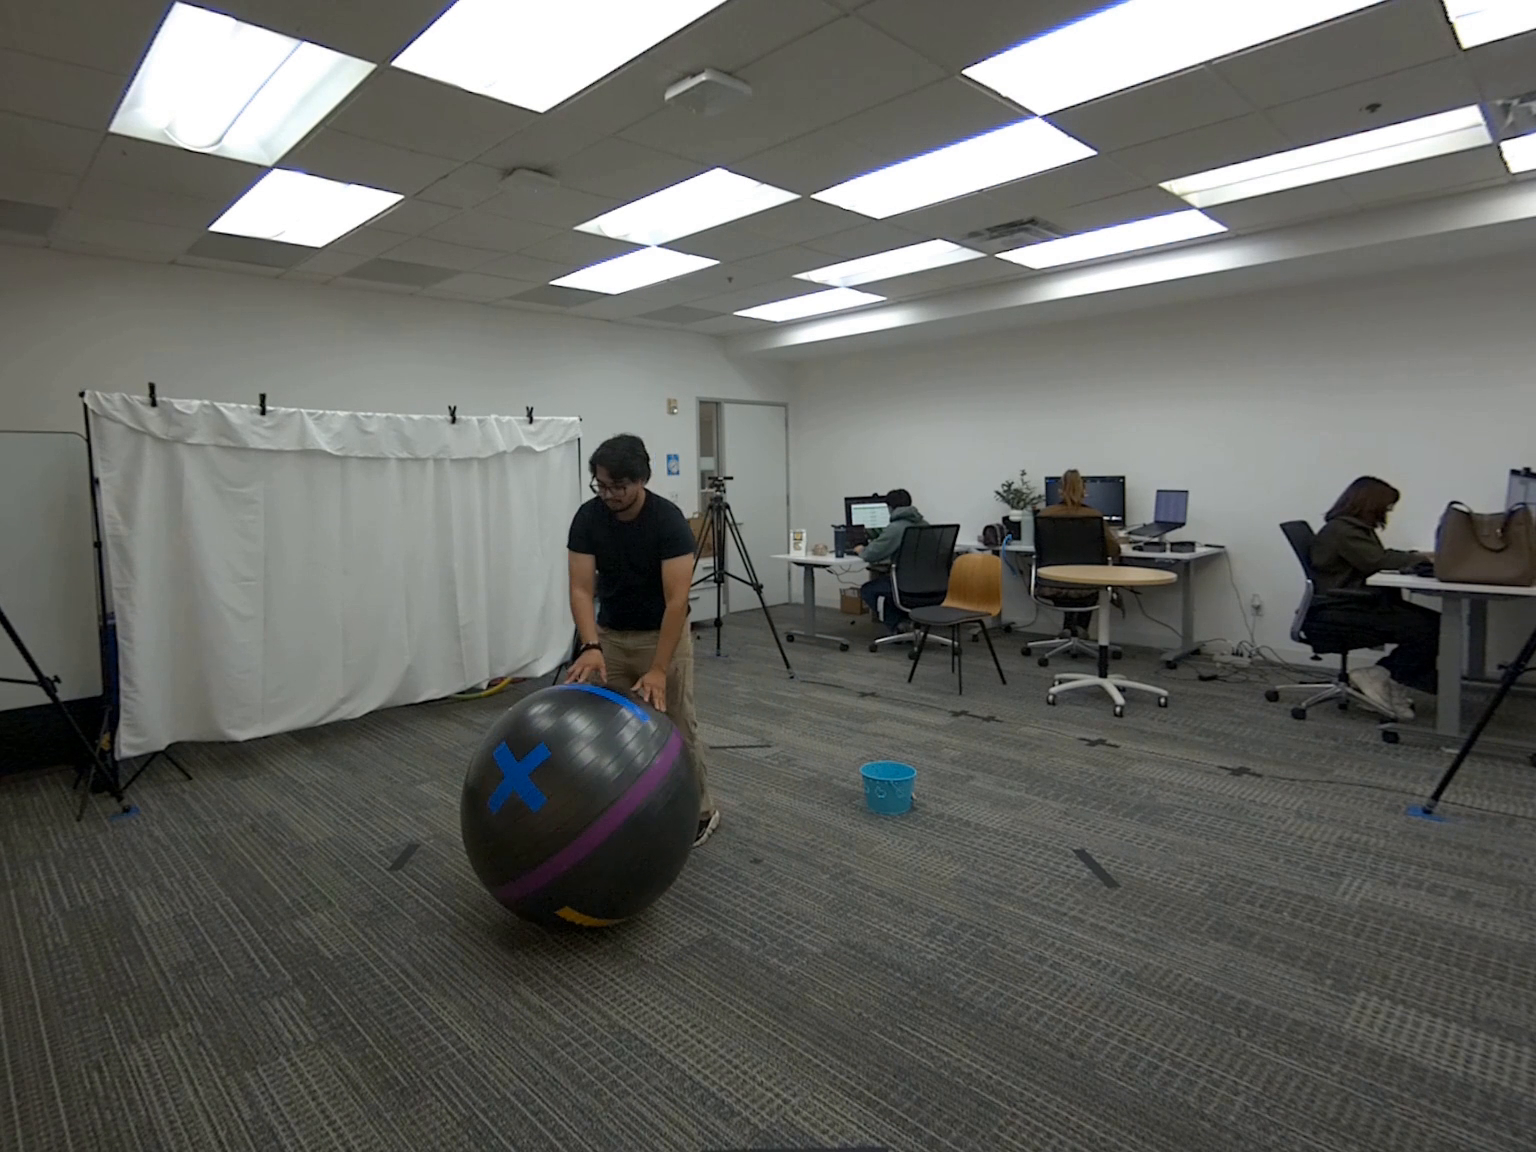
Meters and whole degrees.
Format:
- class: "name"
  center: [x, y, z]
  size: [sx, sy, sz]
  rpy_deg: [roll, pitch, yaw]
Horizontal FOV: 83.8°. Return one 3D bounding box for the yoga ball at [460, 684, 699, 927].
- class: "yoga ball"
  center: [-0.604, 0.734, 2.740]
  size: [0.757, 0.755, 0.762]
  rpy_deg: [-1, 5, -2]
